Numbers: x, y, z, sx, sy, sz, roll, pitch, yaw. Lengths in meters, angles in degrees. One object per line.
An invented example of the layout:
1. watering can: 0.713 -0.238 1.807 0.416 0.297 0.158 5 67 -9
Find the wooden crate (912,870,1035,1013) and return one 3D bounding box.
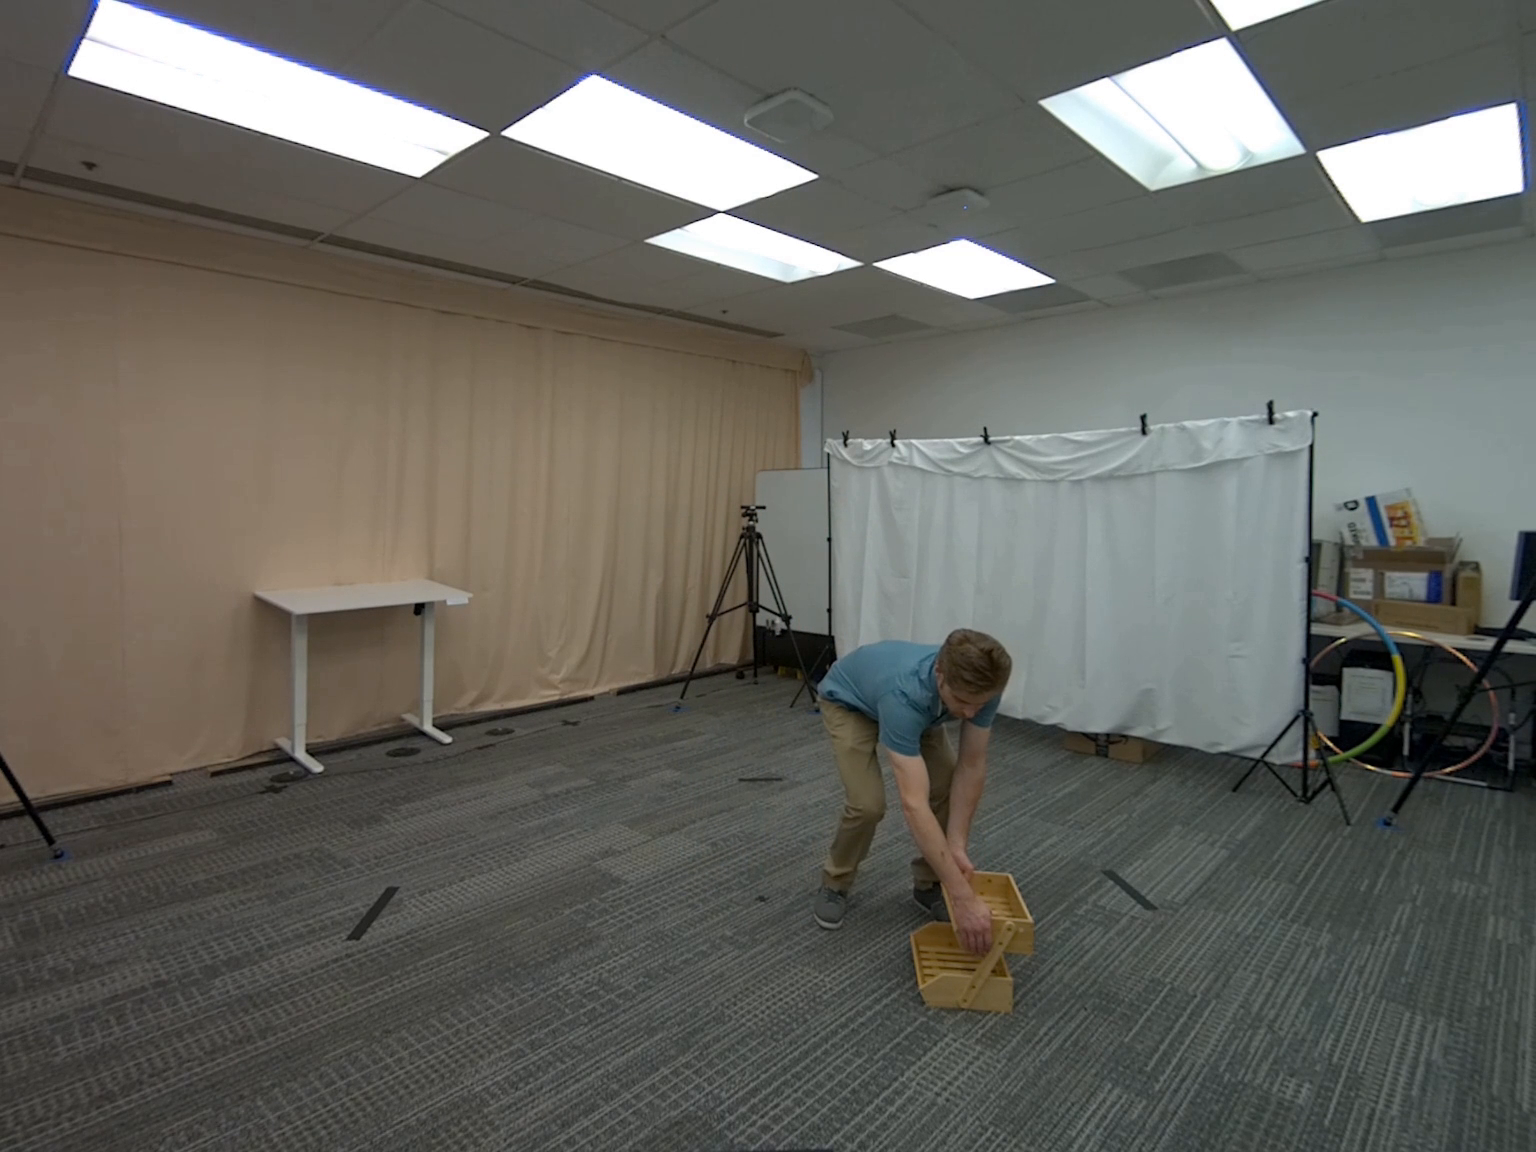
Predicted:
1. wooden crate: 0.589 1.054 2.462 0.304 0.272 0.323 2 4 5
